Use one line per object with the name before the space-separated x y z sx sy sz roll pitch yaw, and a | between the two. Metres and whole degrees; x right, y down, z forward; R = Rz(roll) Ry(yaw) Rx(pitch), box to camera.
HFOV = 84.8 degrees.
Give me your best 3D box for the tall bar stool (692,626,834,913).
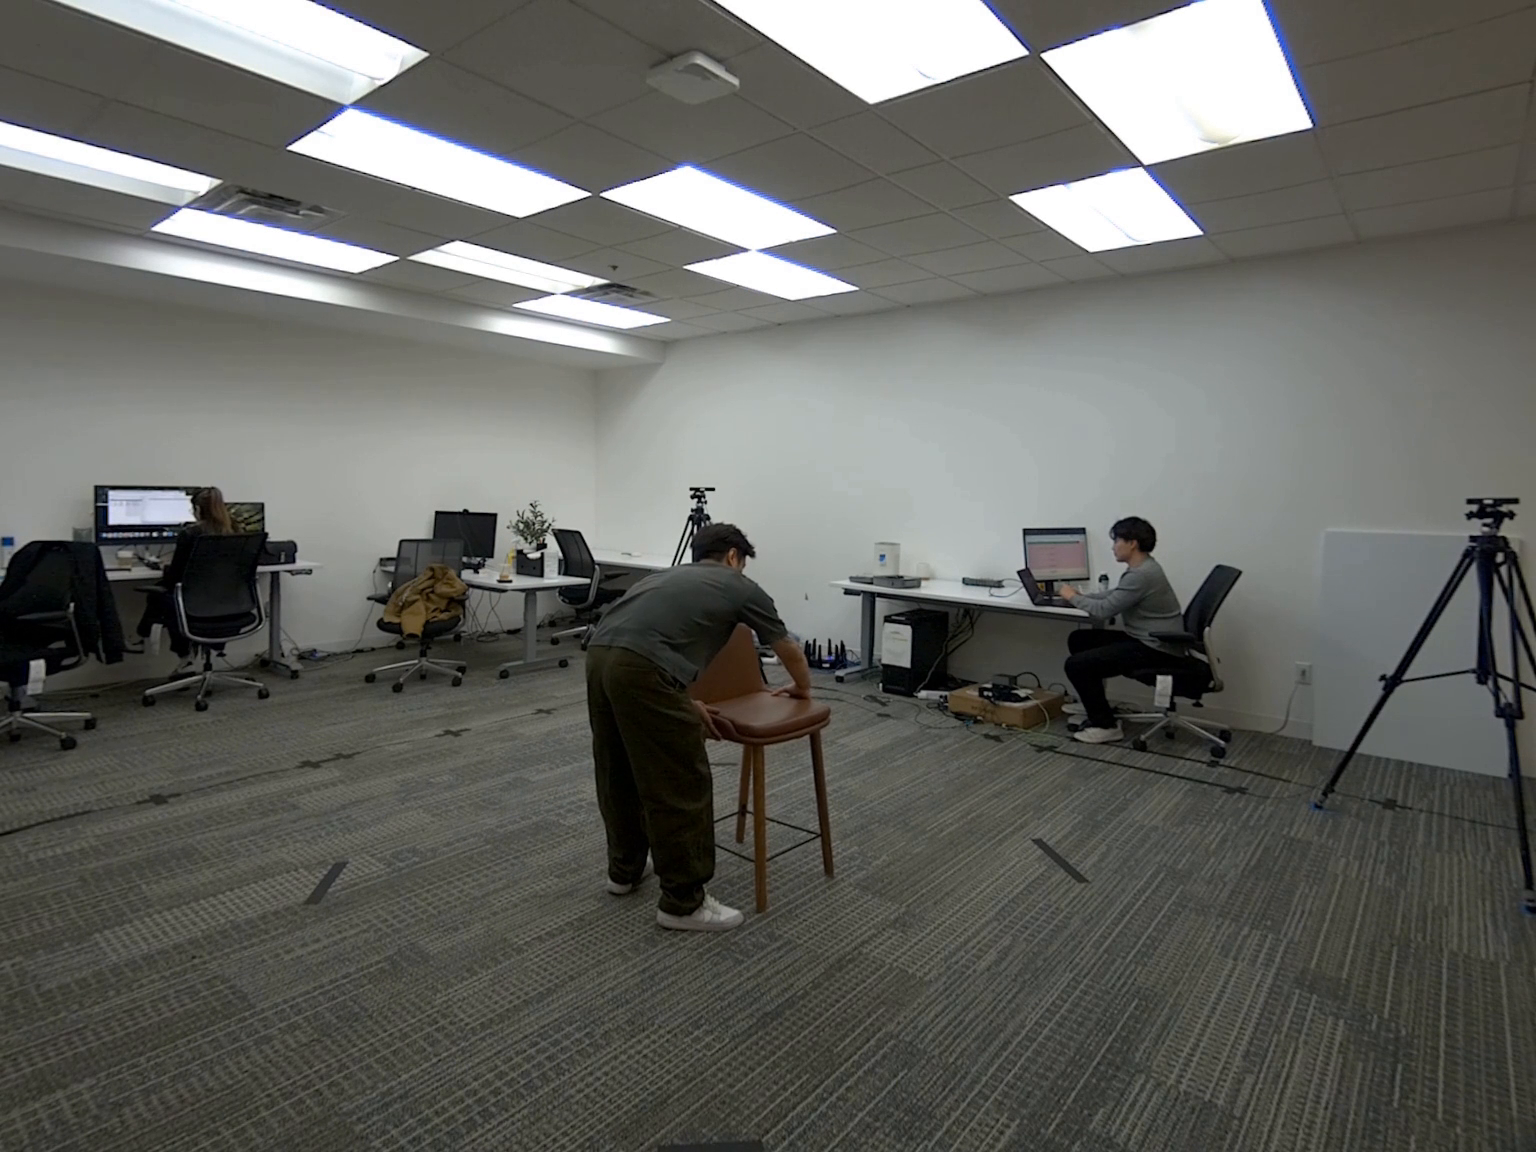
tall bar stool | -0.056 0.633 3.065 0.483 0.888 0.442 3 3 41
